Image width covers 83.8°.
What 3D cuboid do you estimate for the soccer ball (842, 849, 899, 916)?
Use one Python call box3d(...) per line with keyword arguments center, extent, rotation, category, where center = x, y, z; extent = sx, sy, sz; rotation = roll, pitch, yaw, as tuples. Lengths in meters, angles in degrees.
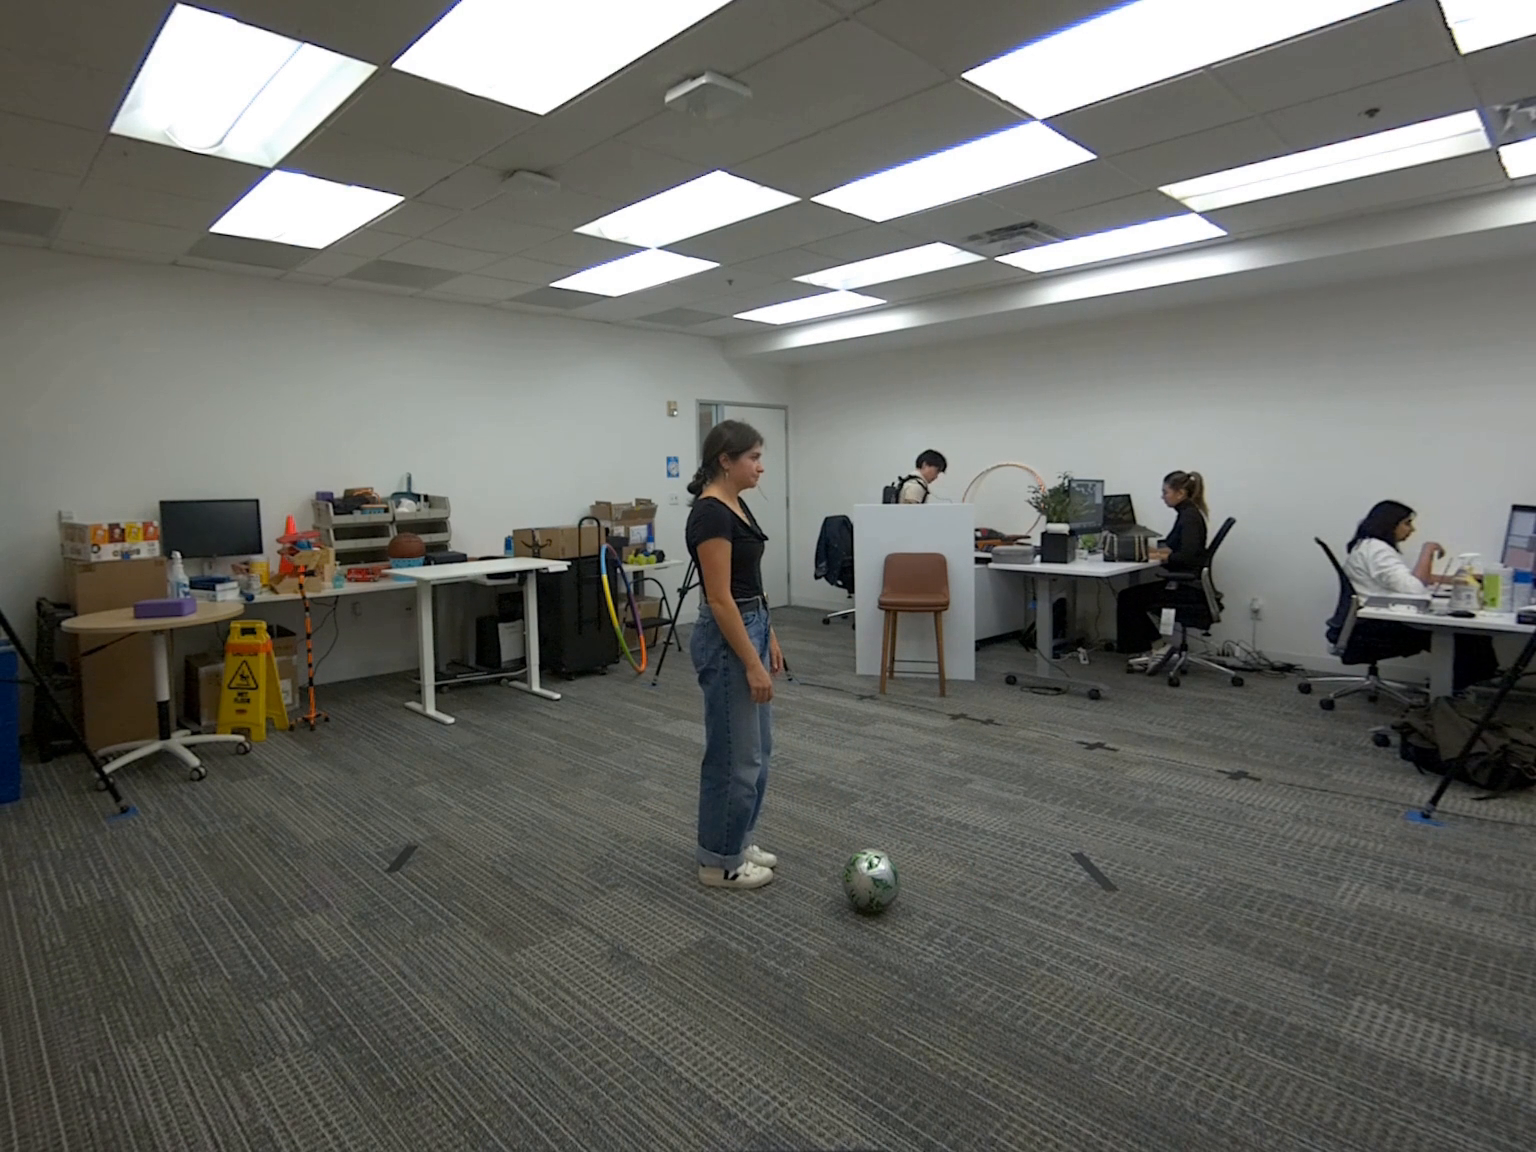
box3d(center=(0.339, 0.982, 2.765), extent=(0.187, 0.187, 0.188), rotation=(-1, 5, -2), category="soccer ball")
